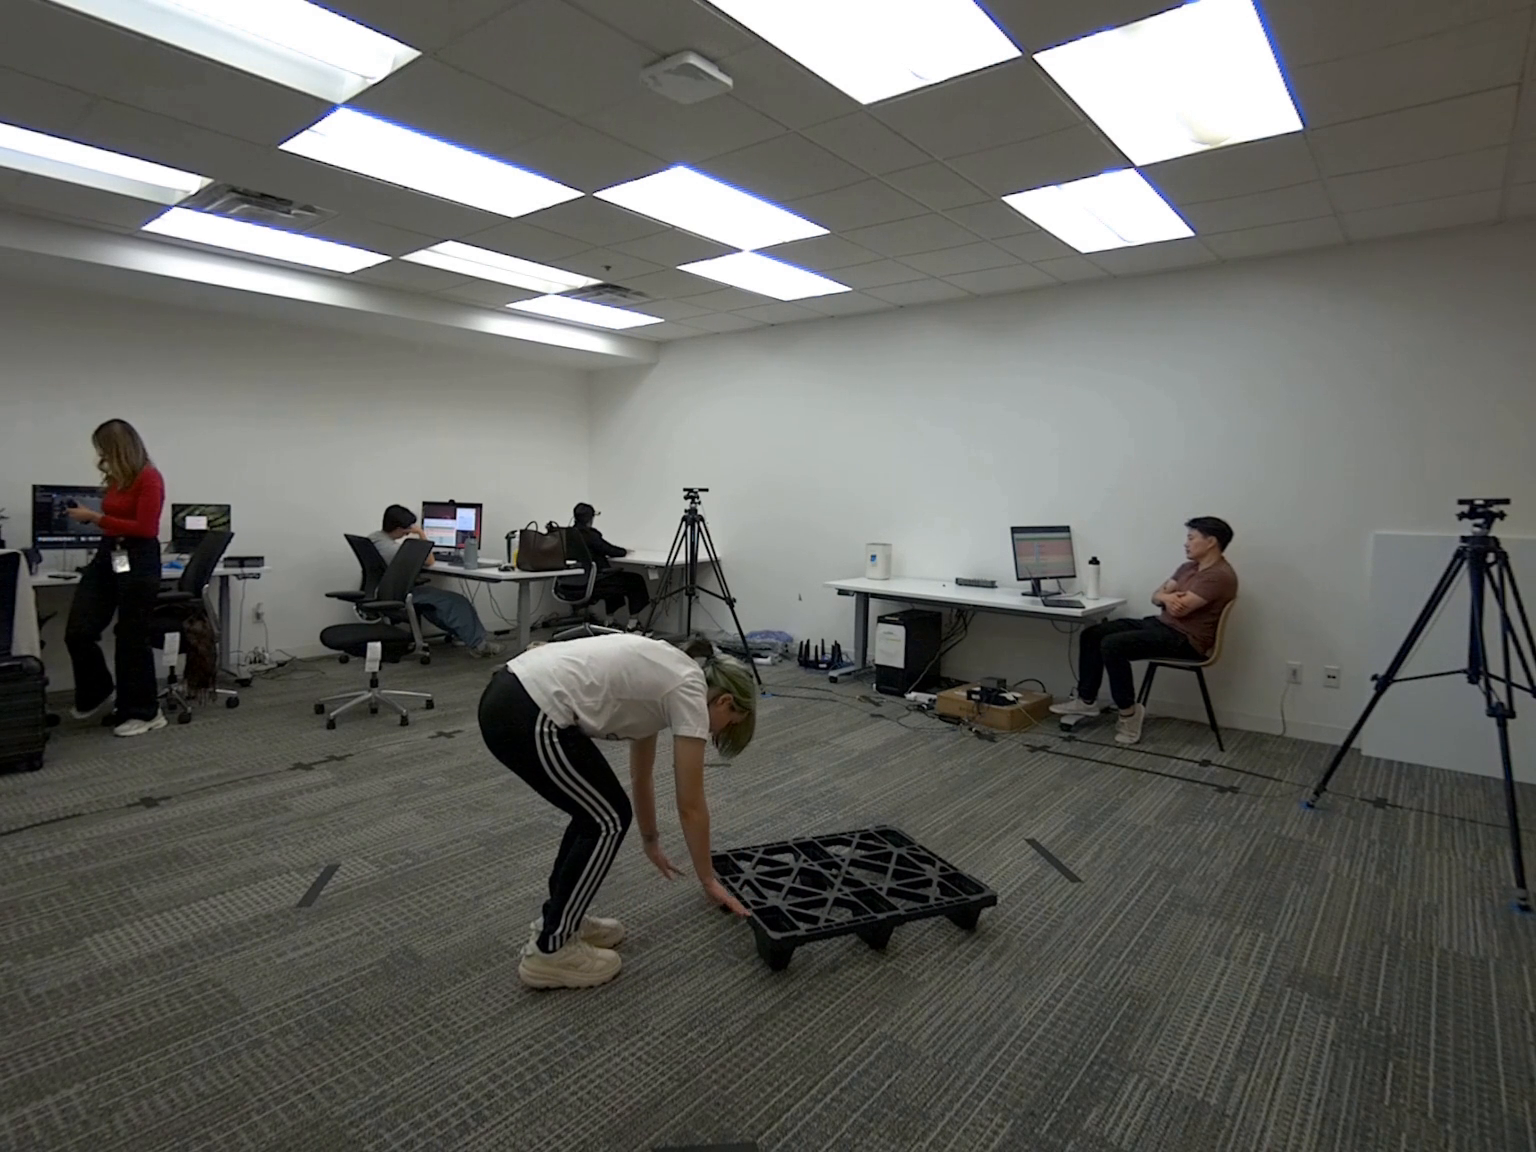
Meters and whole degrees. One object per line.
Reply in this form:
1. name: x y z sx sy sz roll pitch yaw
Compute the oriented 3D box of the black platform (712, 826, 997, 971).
1. black platform: 0.238 1.042 2.805 0.787 0.143 0.622 -1 7 -24
